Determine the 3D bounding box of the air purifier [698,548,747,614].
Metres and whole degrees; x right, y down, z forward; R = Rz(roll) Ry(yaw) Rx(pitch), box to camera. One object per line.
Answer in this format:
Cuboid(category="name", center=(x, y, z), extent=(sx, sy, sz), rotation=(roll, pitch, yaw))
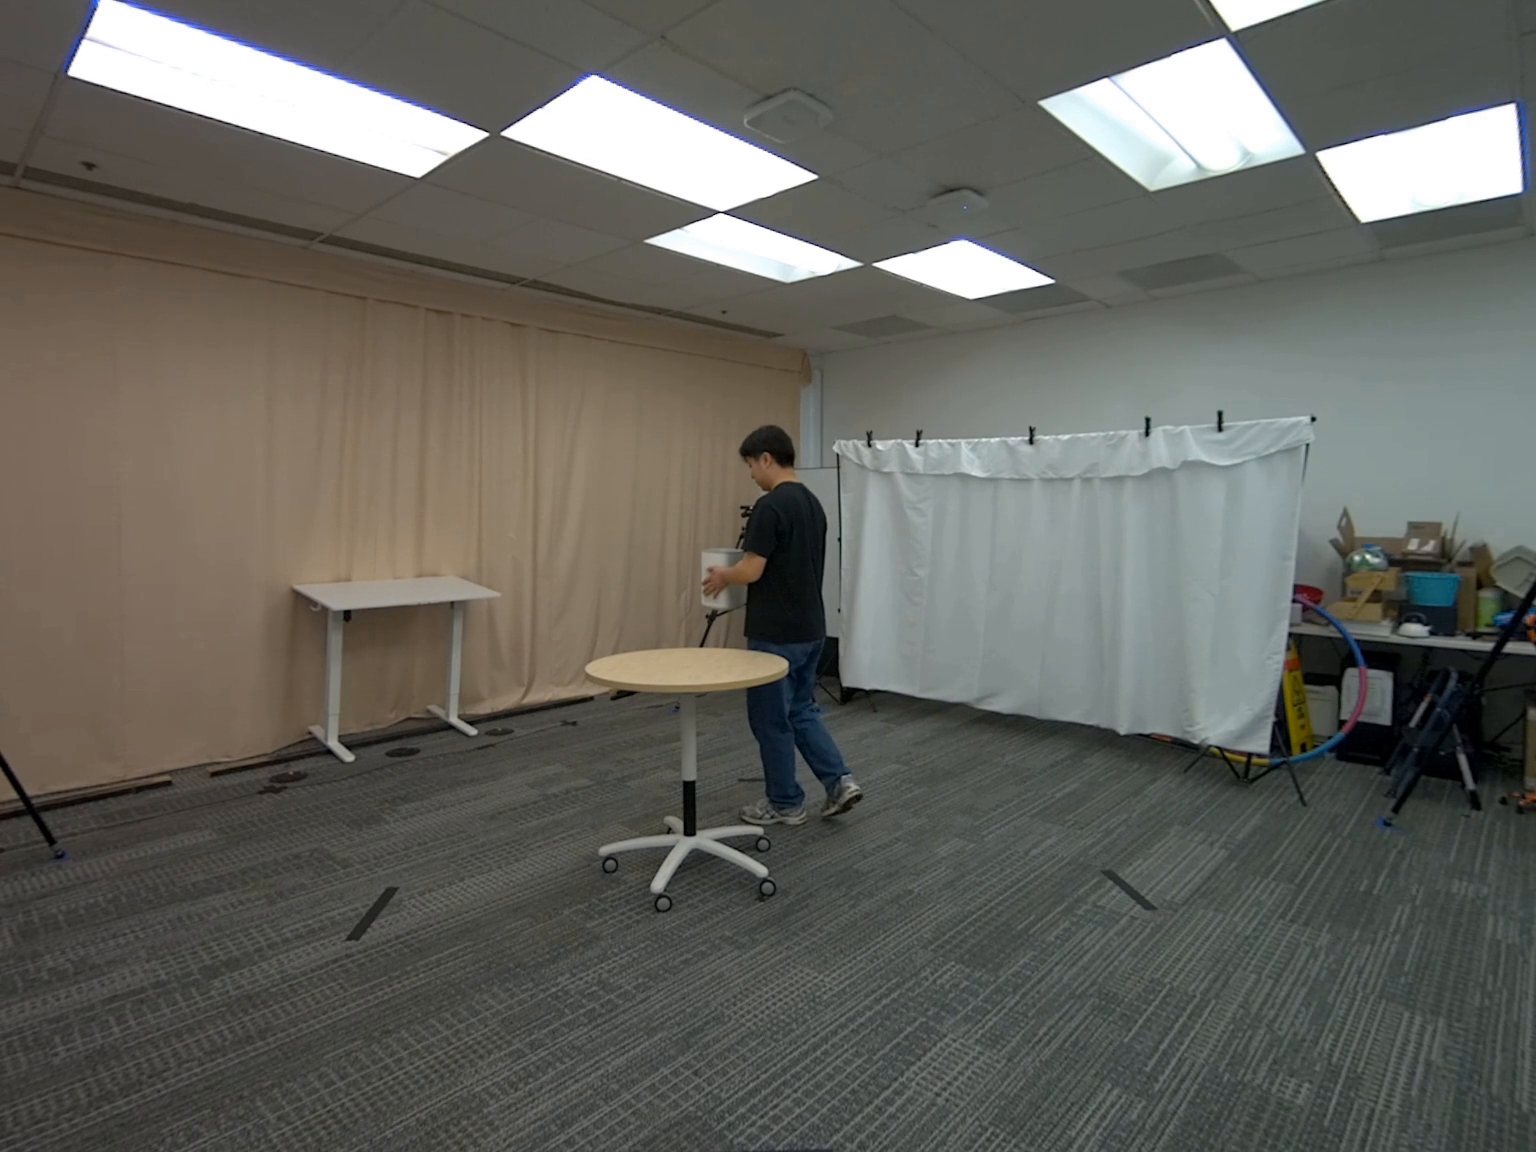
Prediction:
Cuboid(category="air purifier", center=(-0.198, 0.016, 3.820), extent=(0.177, 0.264, 0.166), rotation=(4, 7, 35))
